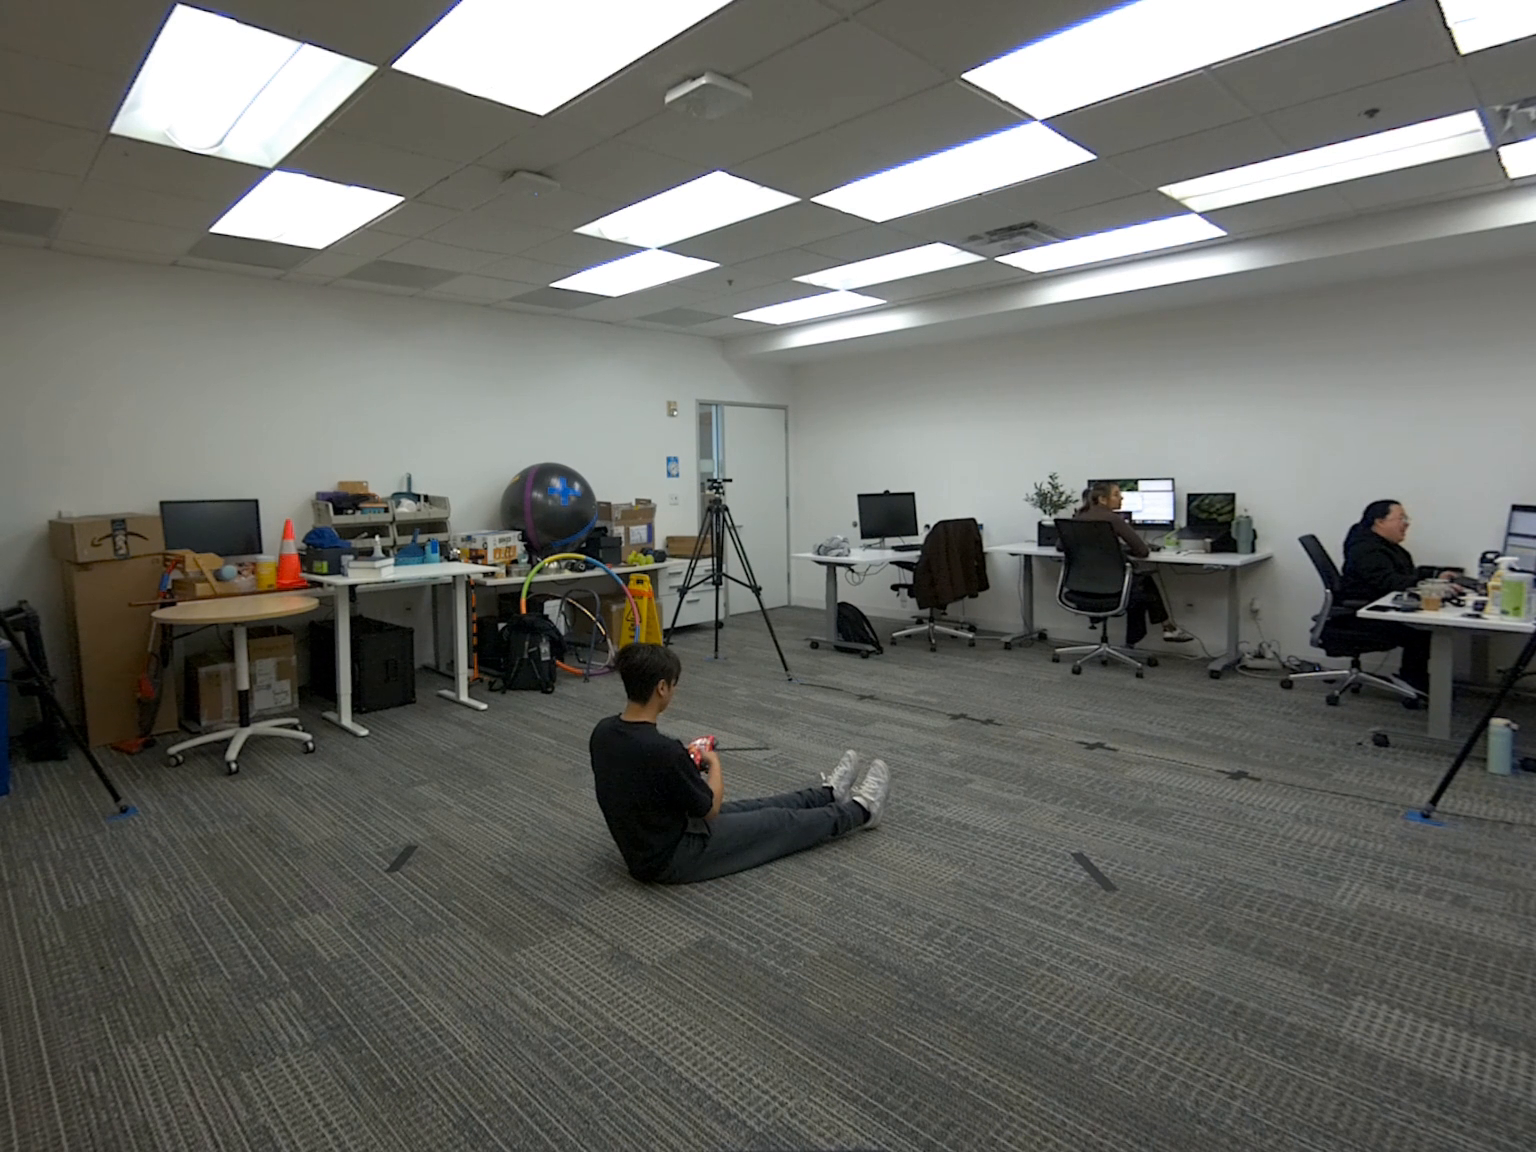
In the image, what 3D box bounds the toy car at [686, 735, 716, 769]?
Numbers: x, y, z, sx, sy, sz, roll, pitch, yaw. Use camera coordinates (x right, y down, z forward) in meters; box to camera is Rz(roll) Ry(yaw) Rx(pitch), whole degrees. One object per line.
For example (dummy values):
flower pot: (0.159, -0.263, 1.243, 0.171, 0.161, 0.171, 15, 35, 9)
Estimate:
toy car: (-0.293, 0.721, 3.356, 0.132, 0.082, 0.252, -15, 8, 26)
